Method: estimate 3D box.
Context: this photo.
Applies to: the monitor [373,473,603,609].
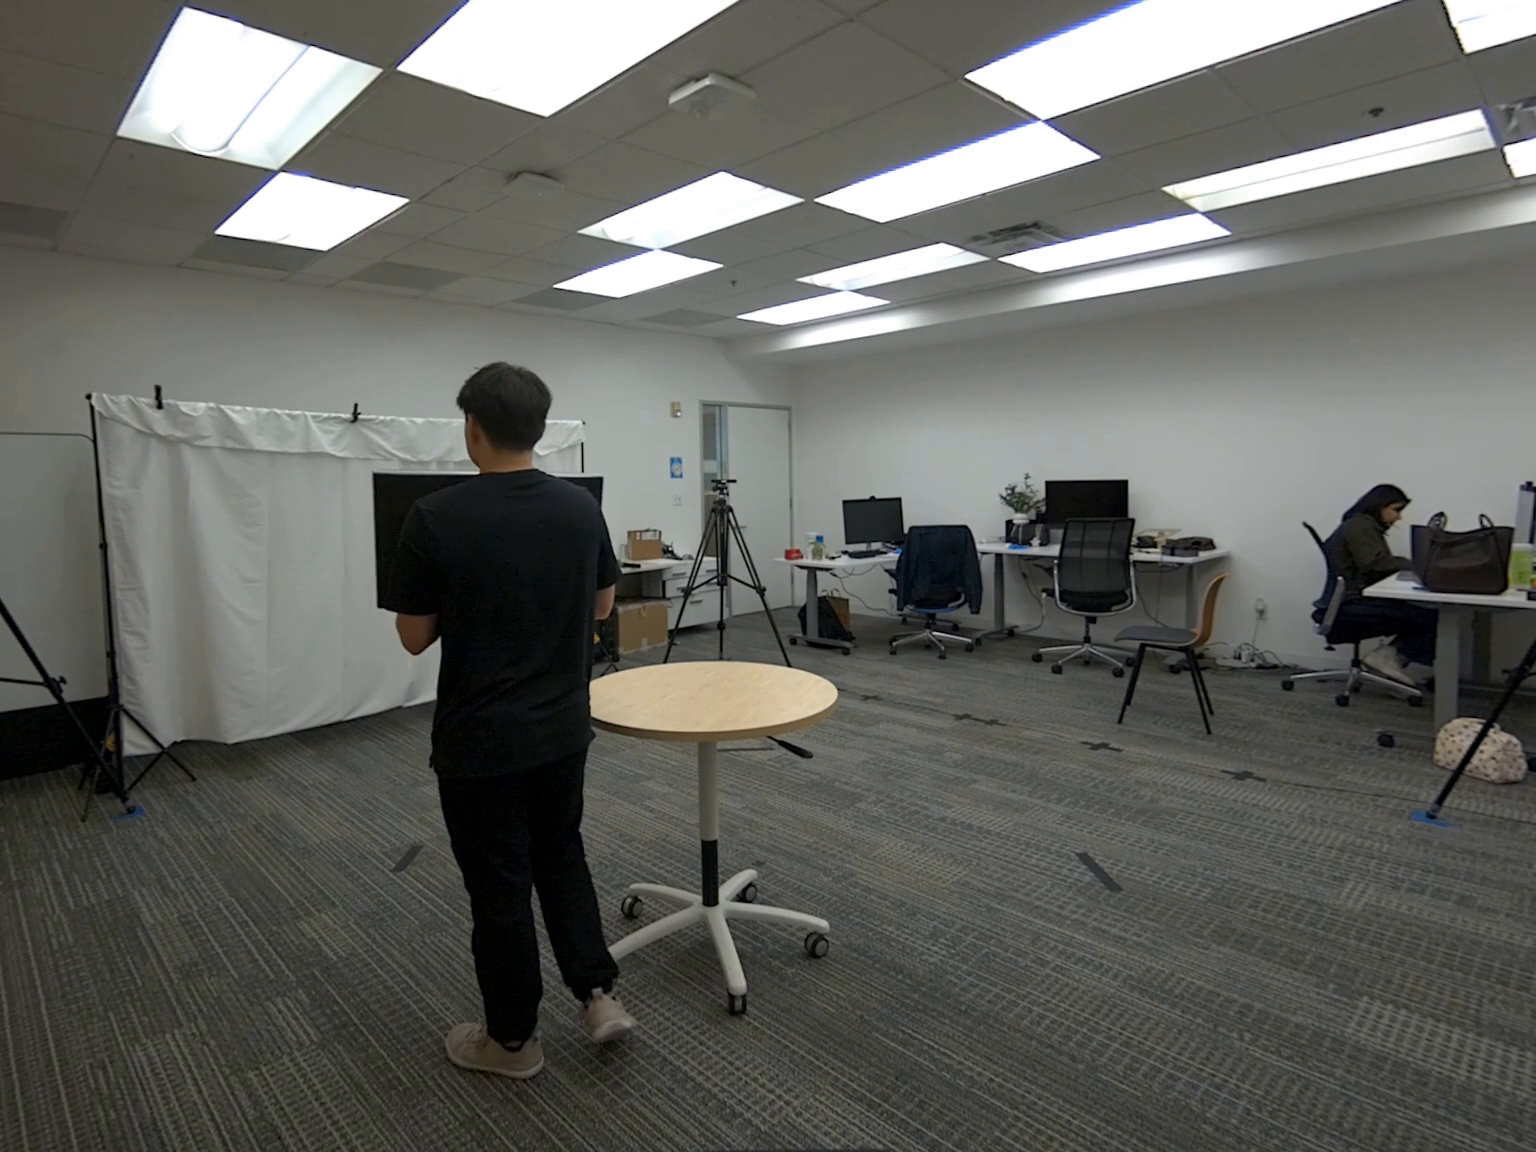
[{"bbox_3d":[-0.689,0.004,2.180,0.529,0.518,0.192,-1,10,-20],"label":"monitor"}]
